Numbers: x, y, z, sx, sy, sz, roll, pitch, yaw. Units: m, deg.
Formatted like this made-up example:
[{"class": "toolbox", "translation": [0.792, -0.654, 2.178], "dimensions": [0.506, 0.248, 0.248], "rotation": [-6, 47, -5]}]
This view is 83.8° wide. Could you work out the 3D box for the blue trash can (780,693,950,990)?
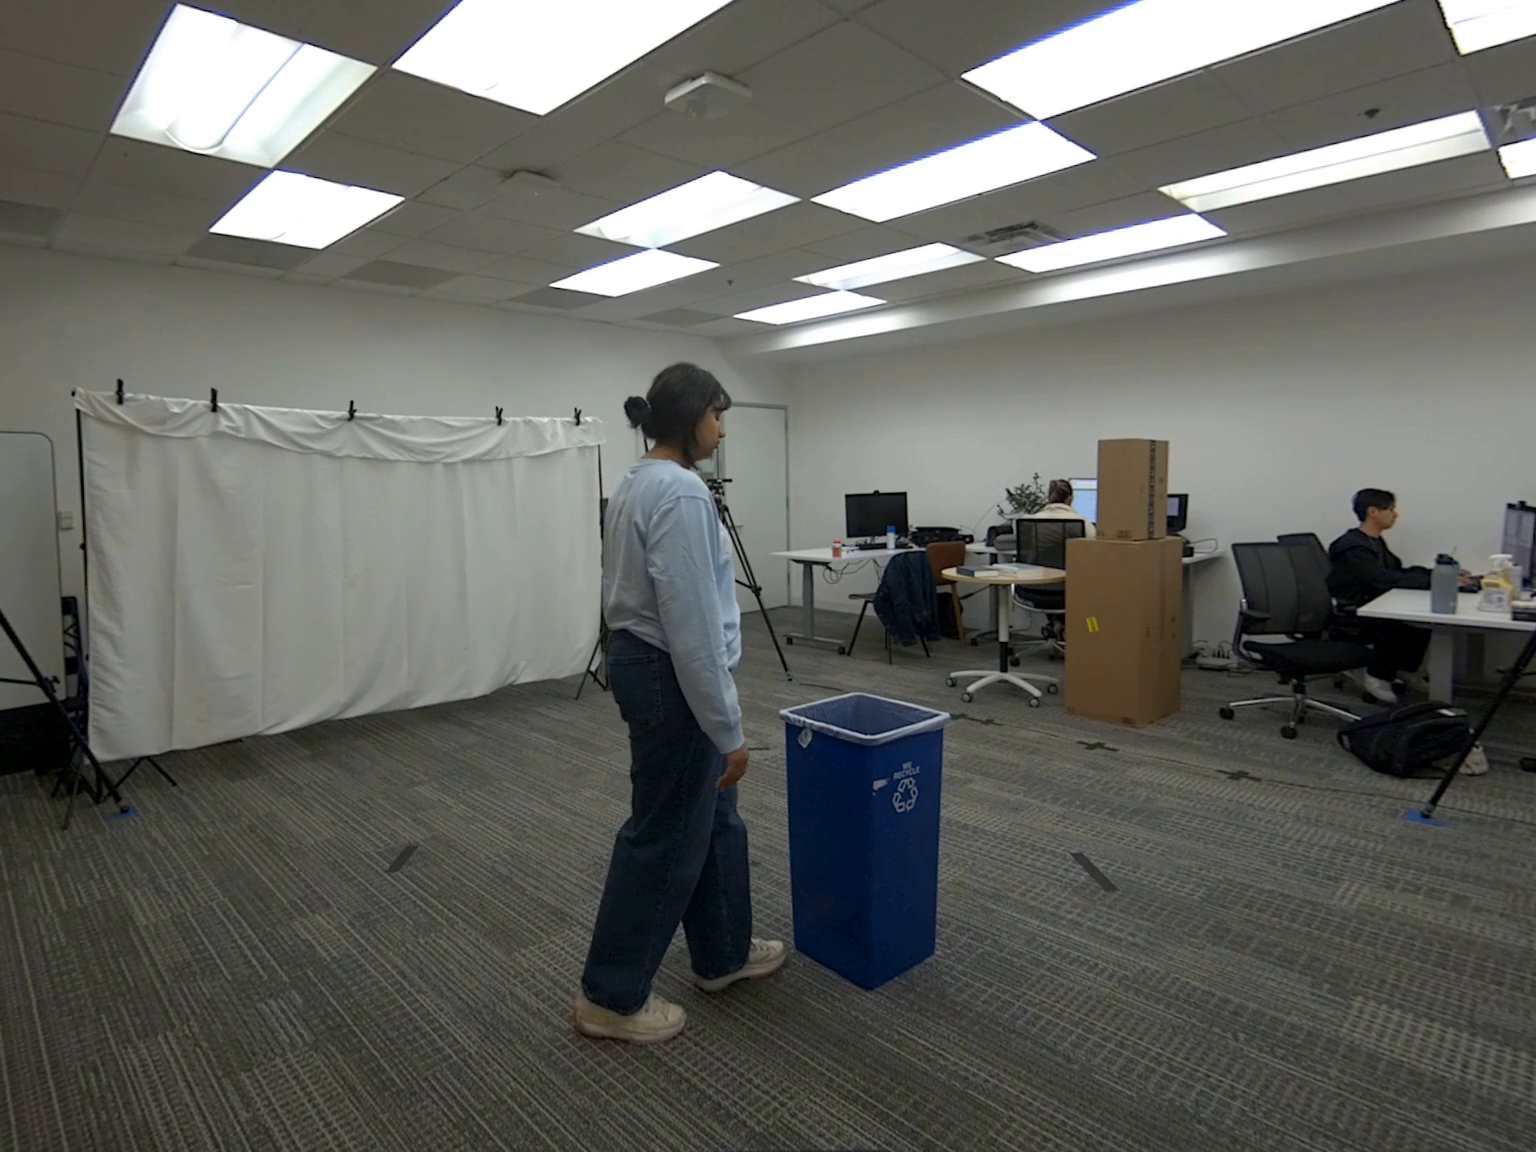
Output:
[{"class": "blue trash can", "translation": [0.288, 0.751, 2.514], "dimensions": [0.364, 0.711, 0.390], "rotation": [-4, 5, -41]}]
